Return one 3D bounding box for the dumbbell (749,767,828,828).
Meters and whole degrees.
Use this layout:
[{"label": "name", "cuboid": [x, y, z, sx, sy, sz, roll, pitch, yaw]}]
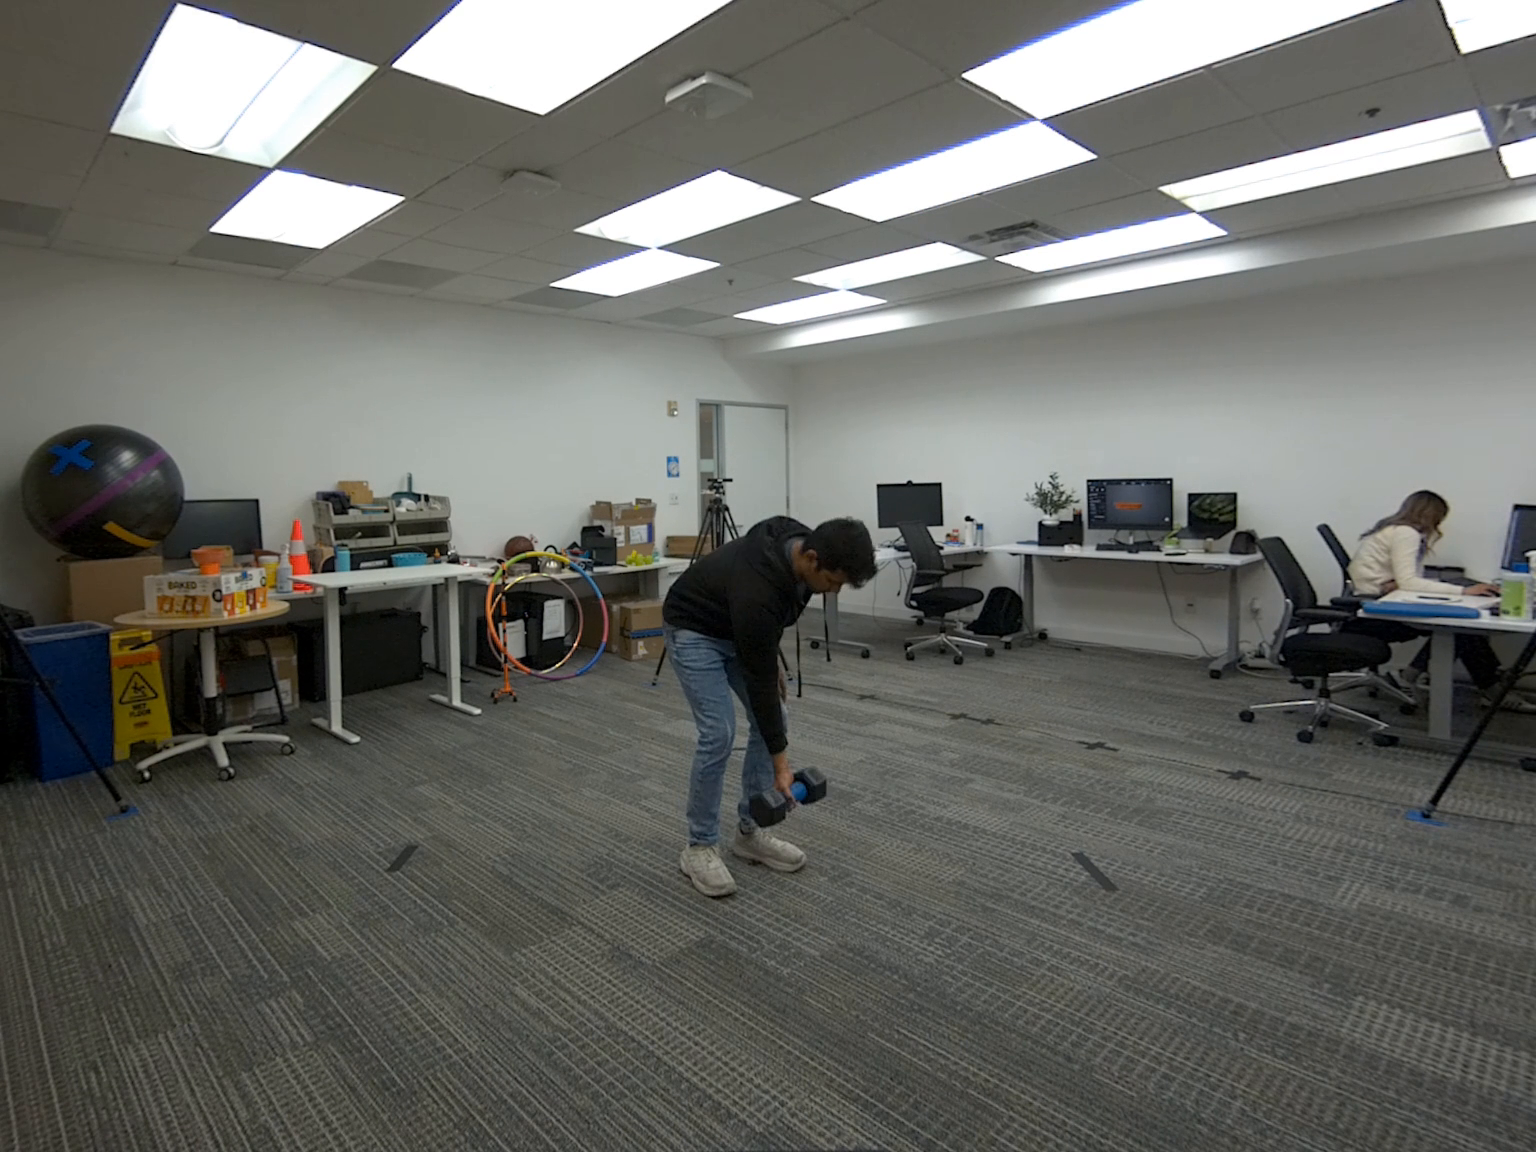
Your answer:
[{"label": "dumbbell", "cuboid": [0.071, 0.721, 2.816, 0.112, 0.121, 0.287, 11, 17, 43]}]
